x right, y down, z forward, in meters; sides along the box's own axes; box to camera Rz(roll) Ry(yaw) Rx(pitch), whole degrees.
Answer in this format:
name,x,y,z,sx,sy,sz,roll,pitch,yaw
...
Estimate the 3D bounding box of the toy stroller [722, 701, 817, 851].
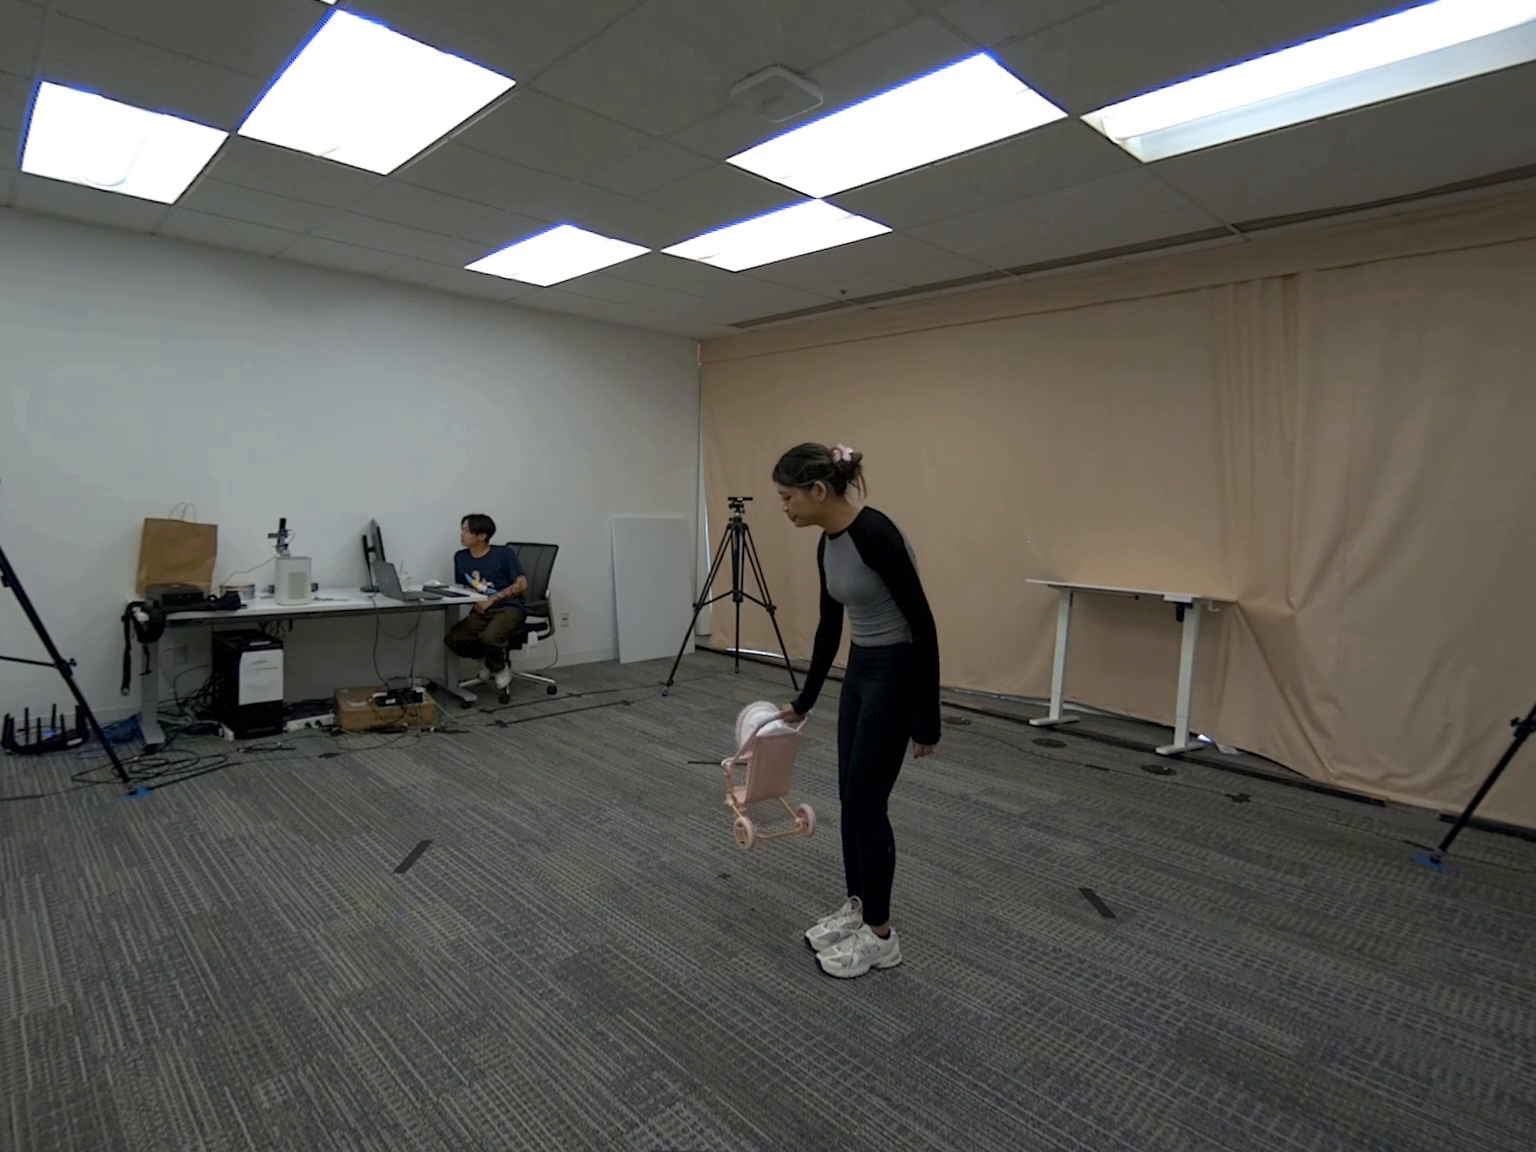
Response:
name,x,y,z,sx,sy,sz,roll,pitch,yaw
toy stroller,-0.023,0.687,2.937,0.276,0.532,0.349,-1,9,-26
